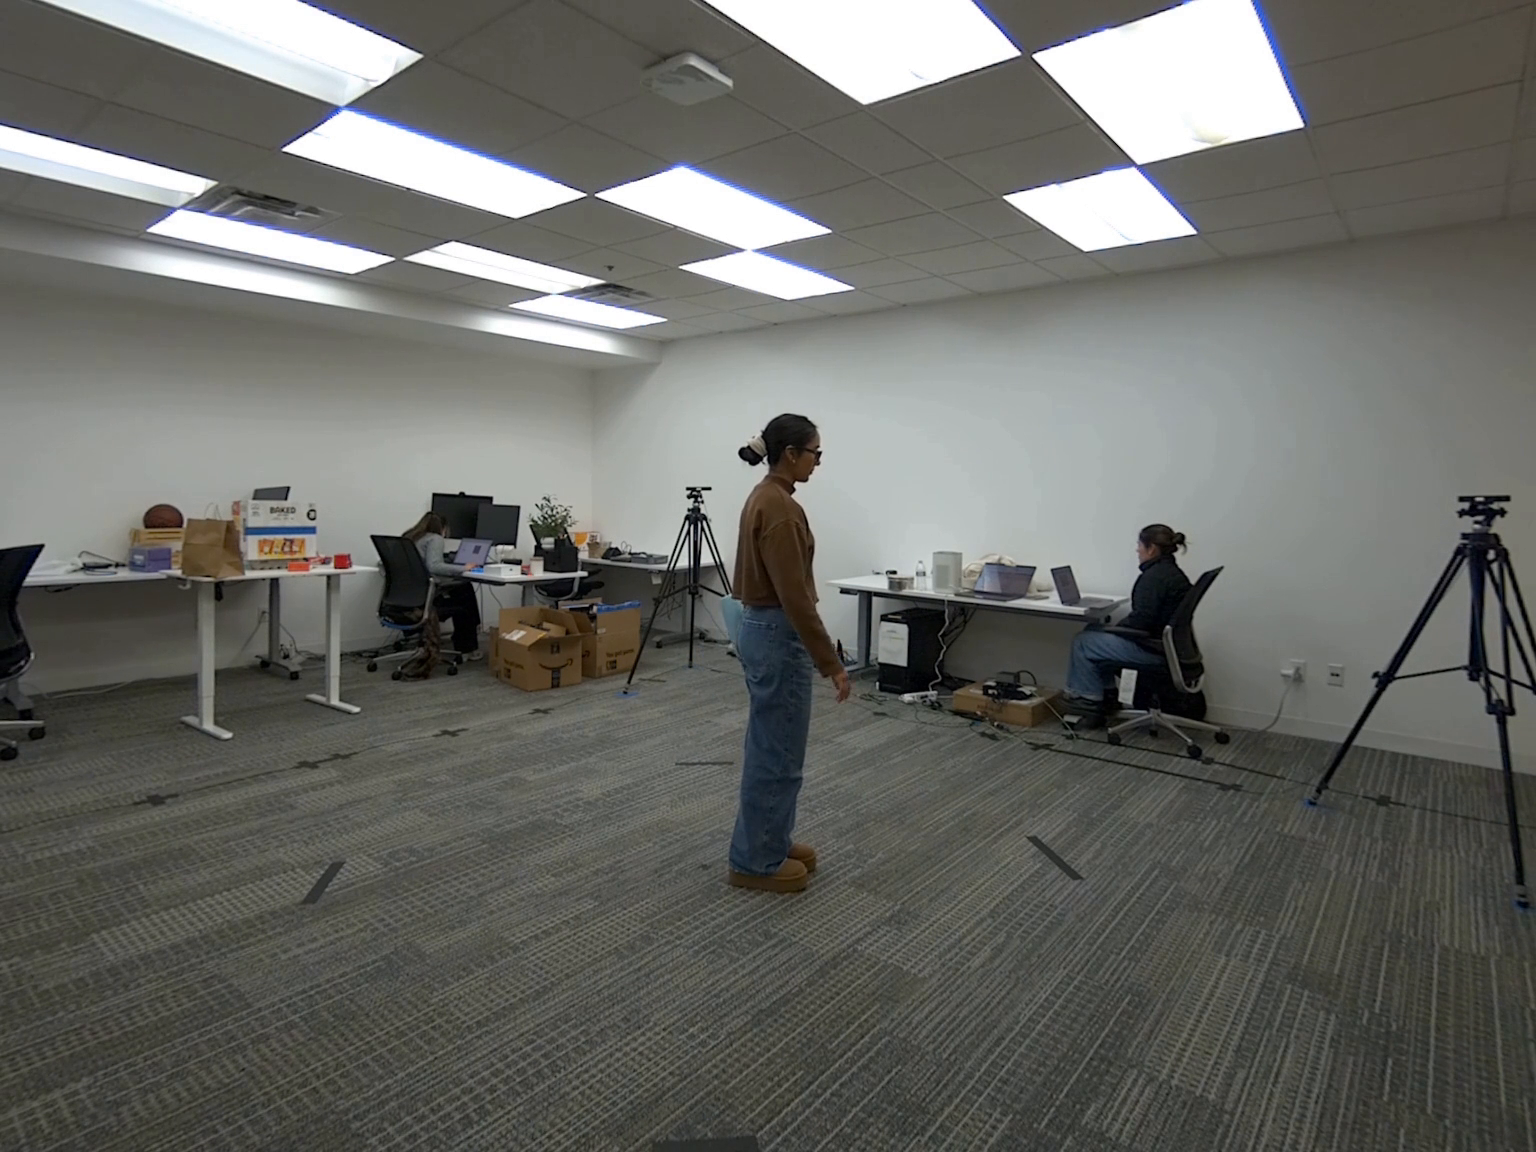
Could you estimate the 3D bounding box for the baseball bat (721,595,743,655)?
[{"bbox_3d":[-0.069,0.335,3.355,0.088,0.554,0.087,-15,-17,-6],"label":"baseball bat"}]
